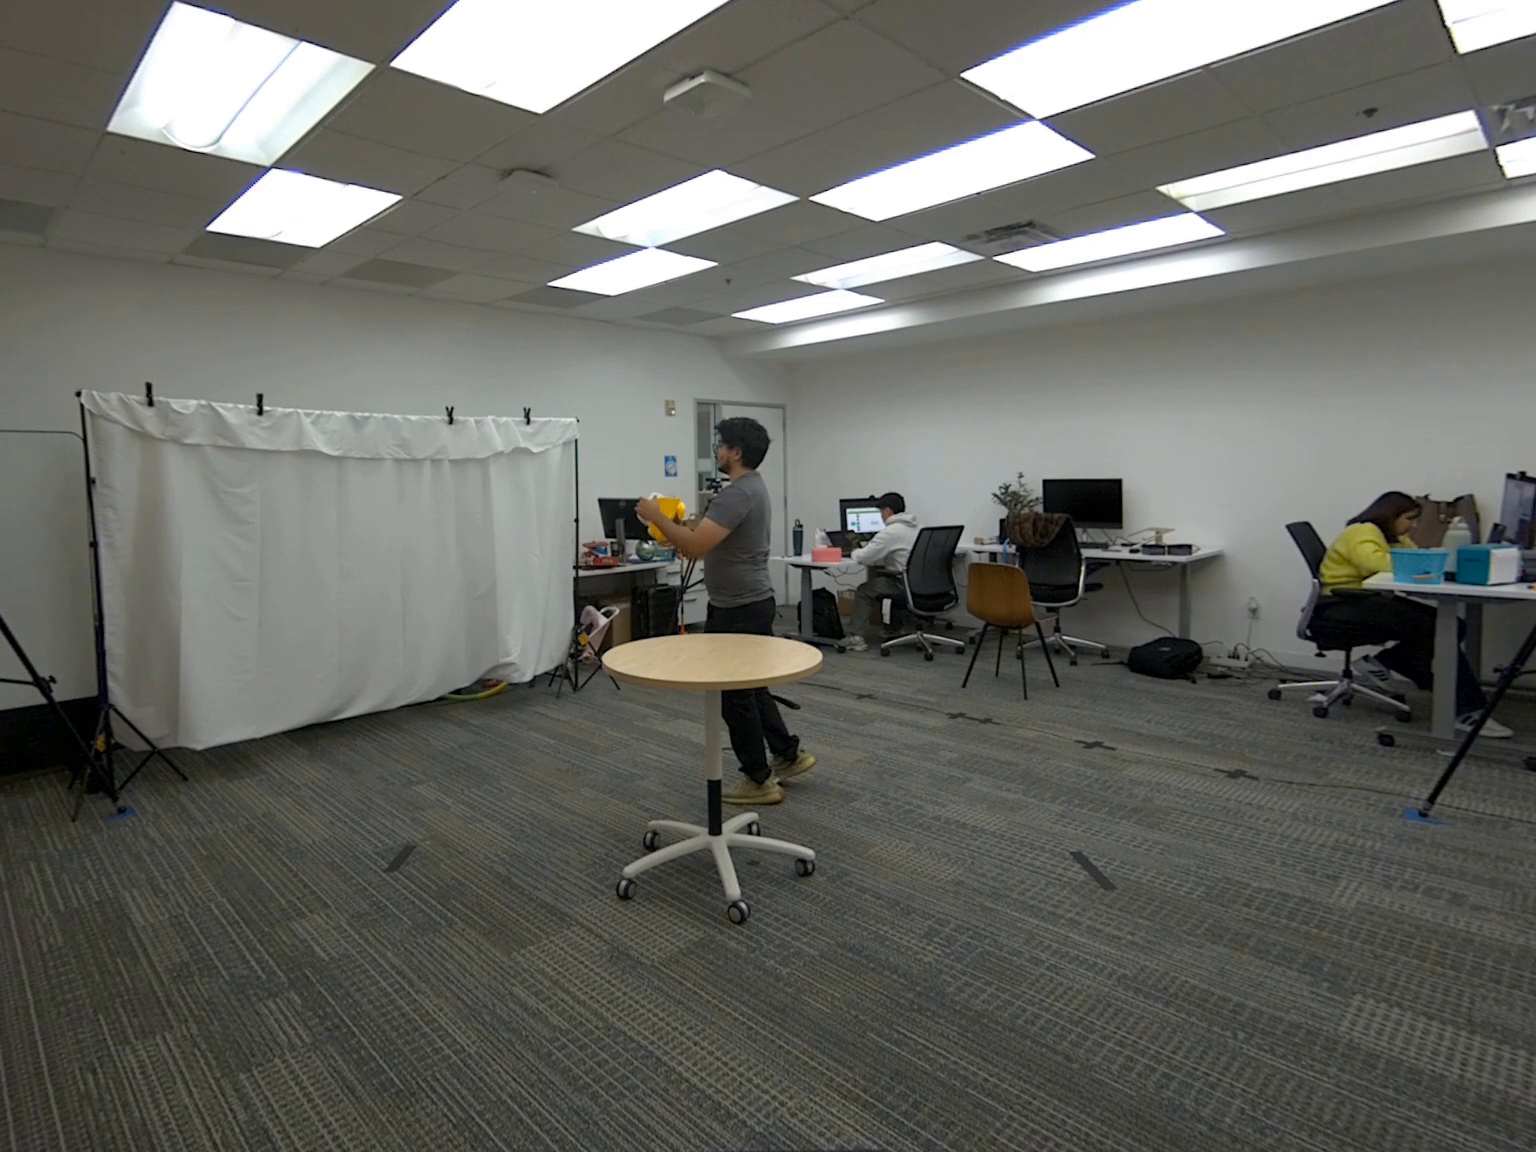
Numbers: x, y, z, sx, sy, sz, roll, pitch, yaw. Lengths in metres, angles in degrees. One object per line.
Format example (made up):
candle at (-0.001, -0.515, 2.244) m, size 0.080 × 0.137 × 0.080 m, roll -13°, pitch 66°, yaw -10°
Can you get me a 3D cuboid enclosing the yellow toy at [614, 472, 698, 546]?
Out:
yellow toy at (-0.497, -0.296, 3.781) m, size 0.200 × 0.205 × 0.222 m, roll 26°, pitch -7°, yaw 46°
